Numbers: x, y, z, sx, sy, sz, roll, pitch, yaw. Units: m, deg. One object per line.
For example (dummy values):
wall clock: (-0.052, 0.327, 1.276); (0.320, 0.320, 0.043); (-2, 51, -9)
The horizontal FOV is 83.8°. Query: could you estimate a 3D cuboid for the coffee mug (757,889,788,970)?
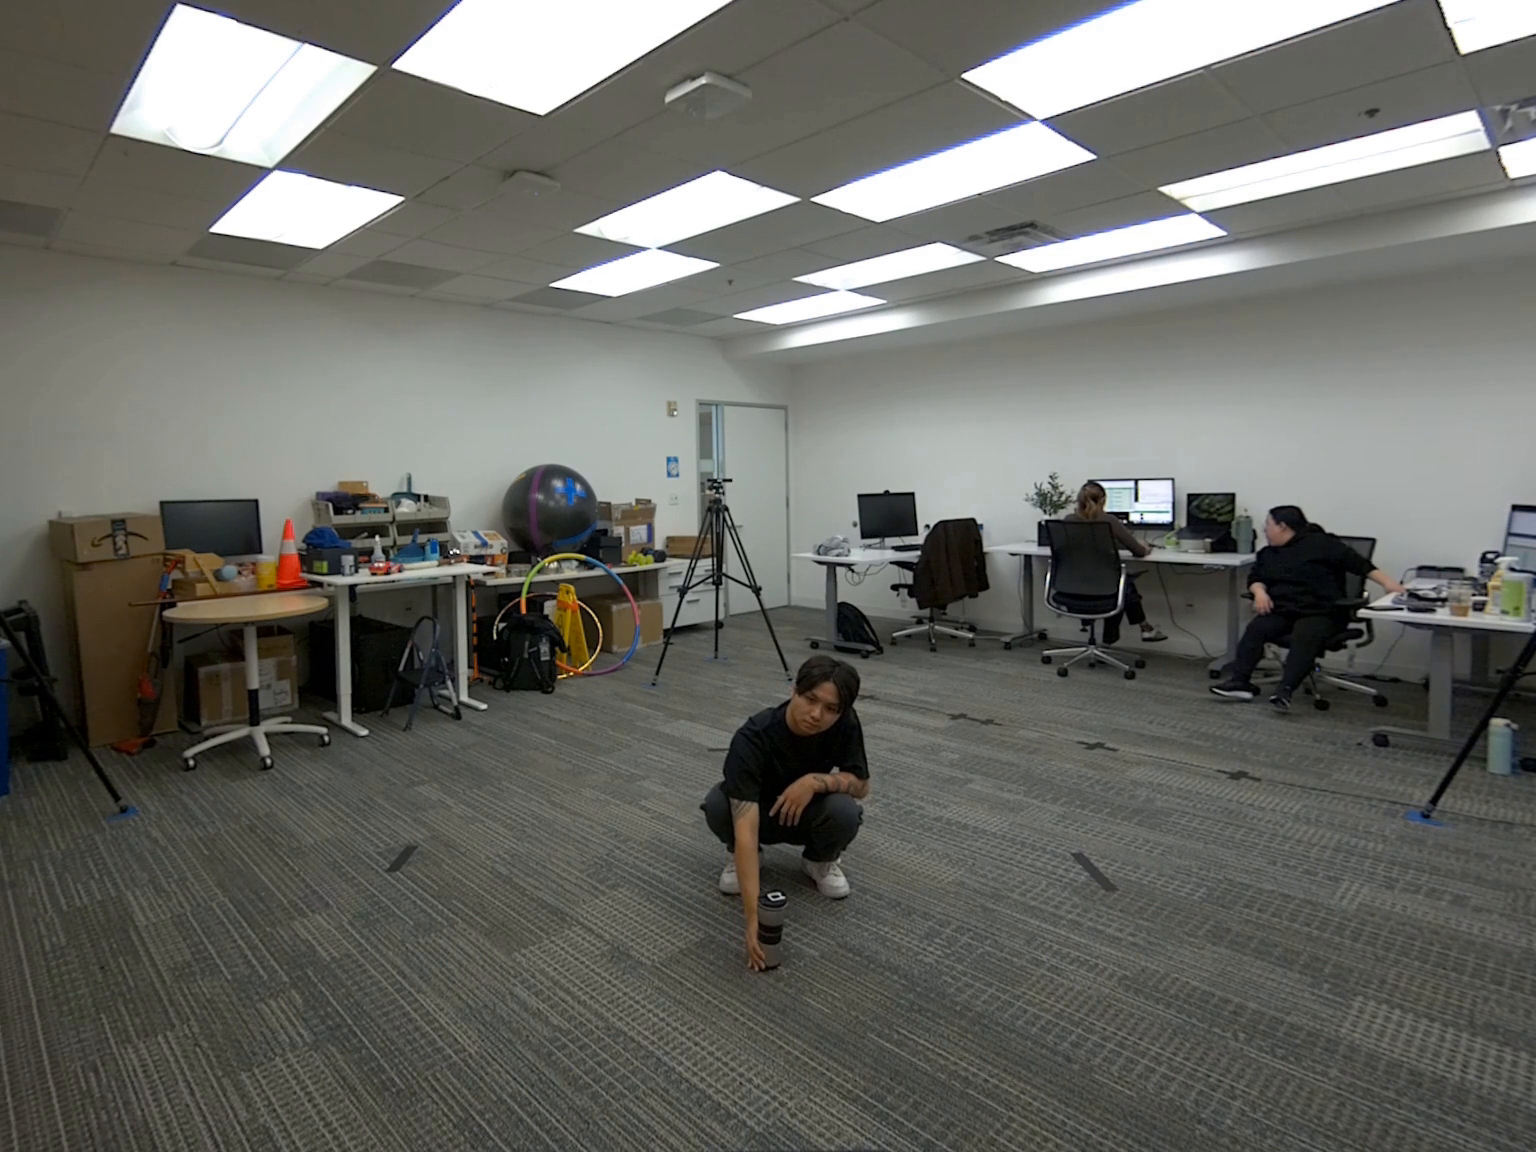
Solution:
coffee mug: (0.027, 1.022, 2.465); (0.119, 0.202, 0.090); (-8, 8, -44)
